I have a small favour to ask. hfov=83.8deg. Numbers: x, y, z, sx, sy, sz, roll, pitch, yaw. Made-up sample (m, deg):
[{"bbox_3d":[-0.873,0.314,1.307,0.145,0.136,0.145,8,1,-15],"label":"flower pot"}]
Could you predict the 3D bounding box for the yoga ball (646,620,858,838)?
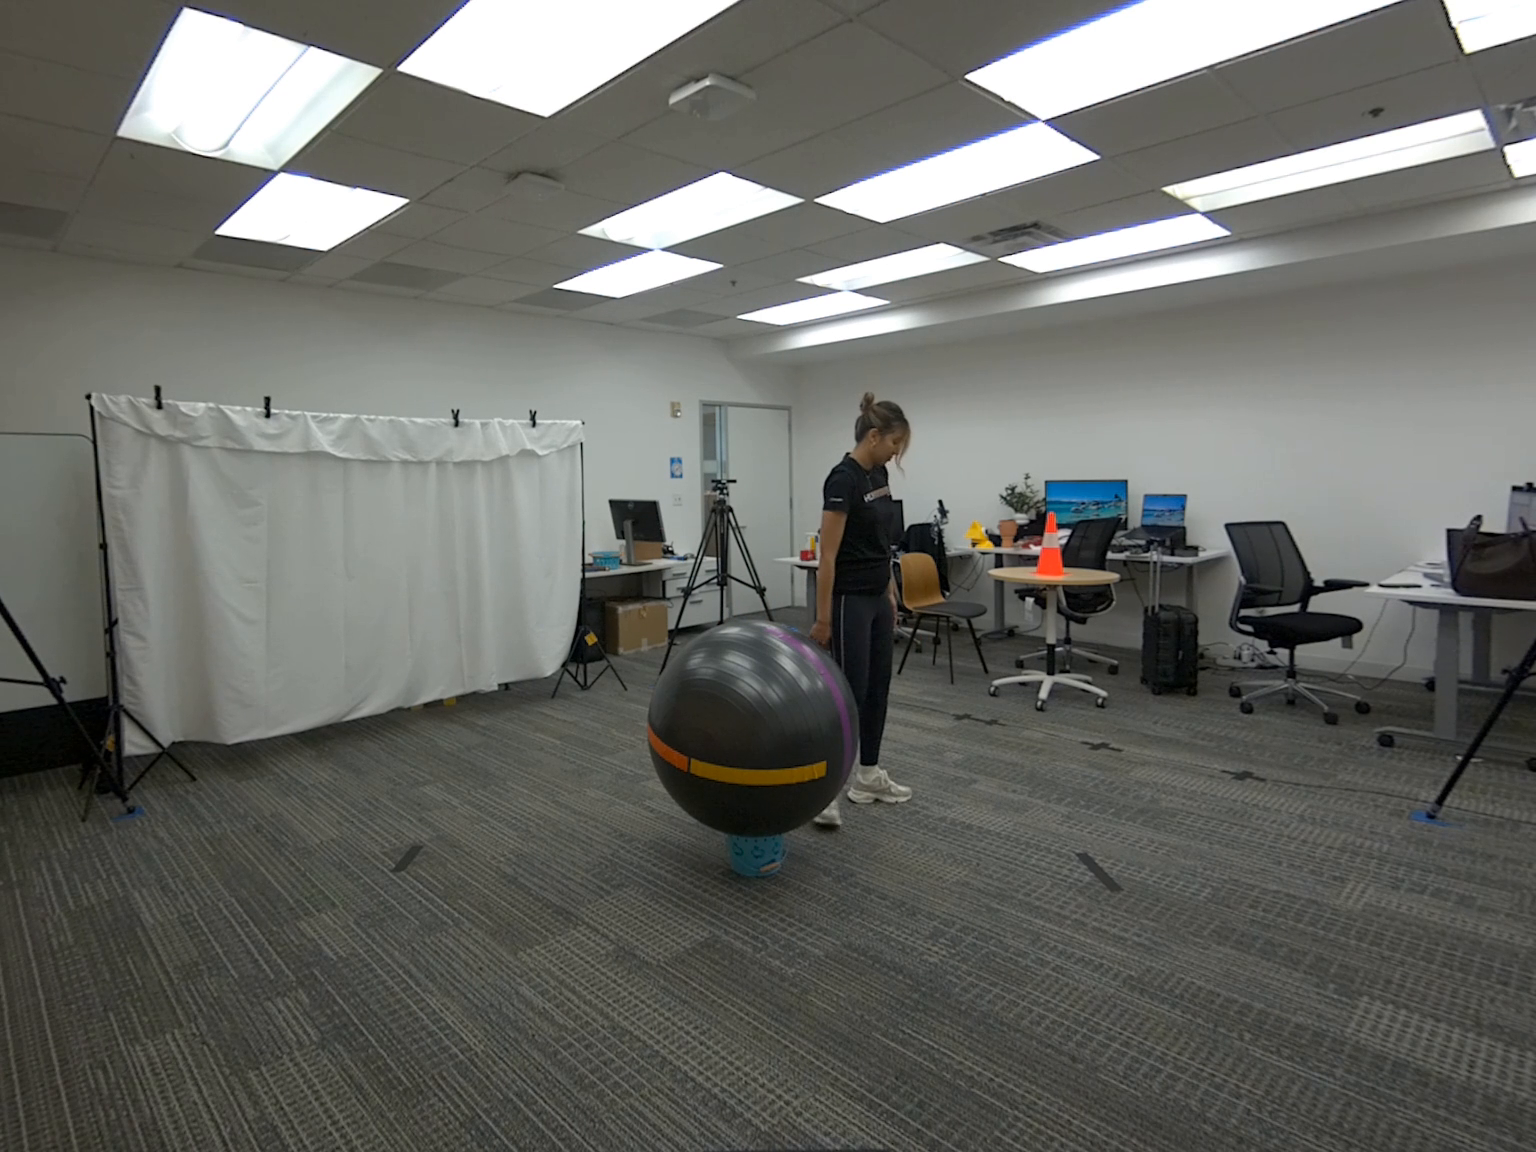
[{"bbox_3d":[-0.058,0.541,3.073,0.757,0.755,0.762,-1,5,-2],"label":"yoga ball"}]
